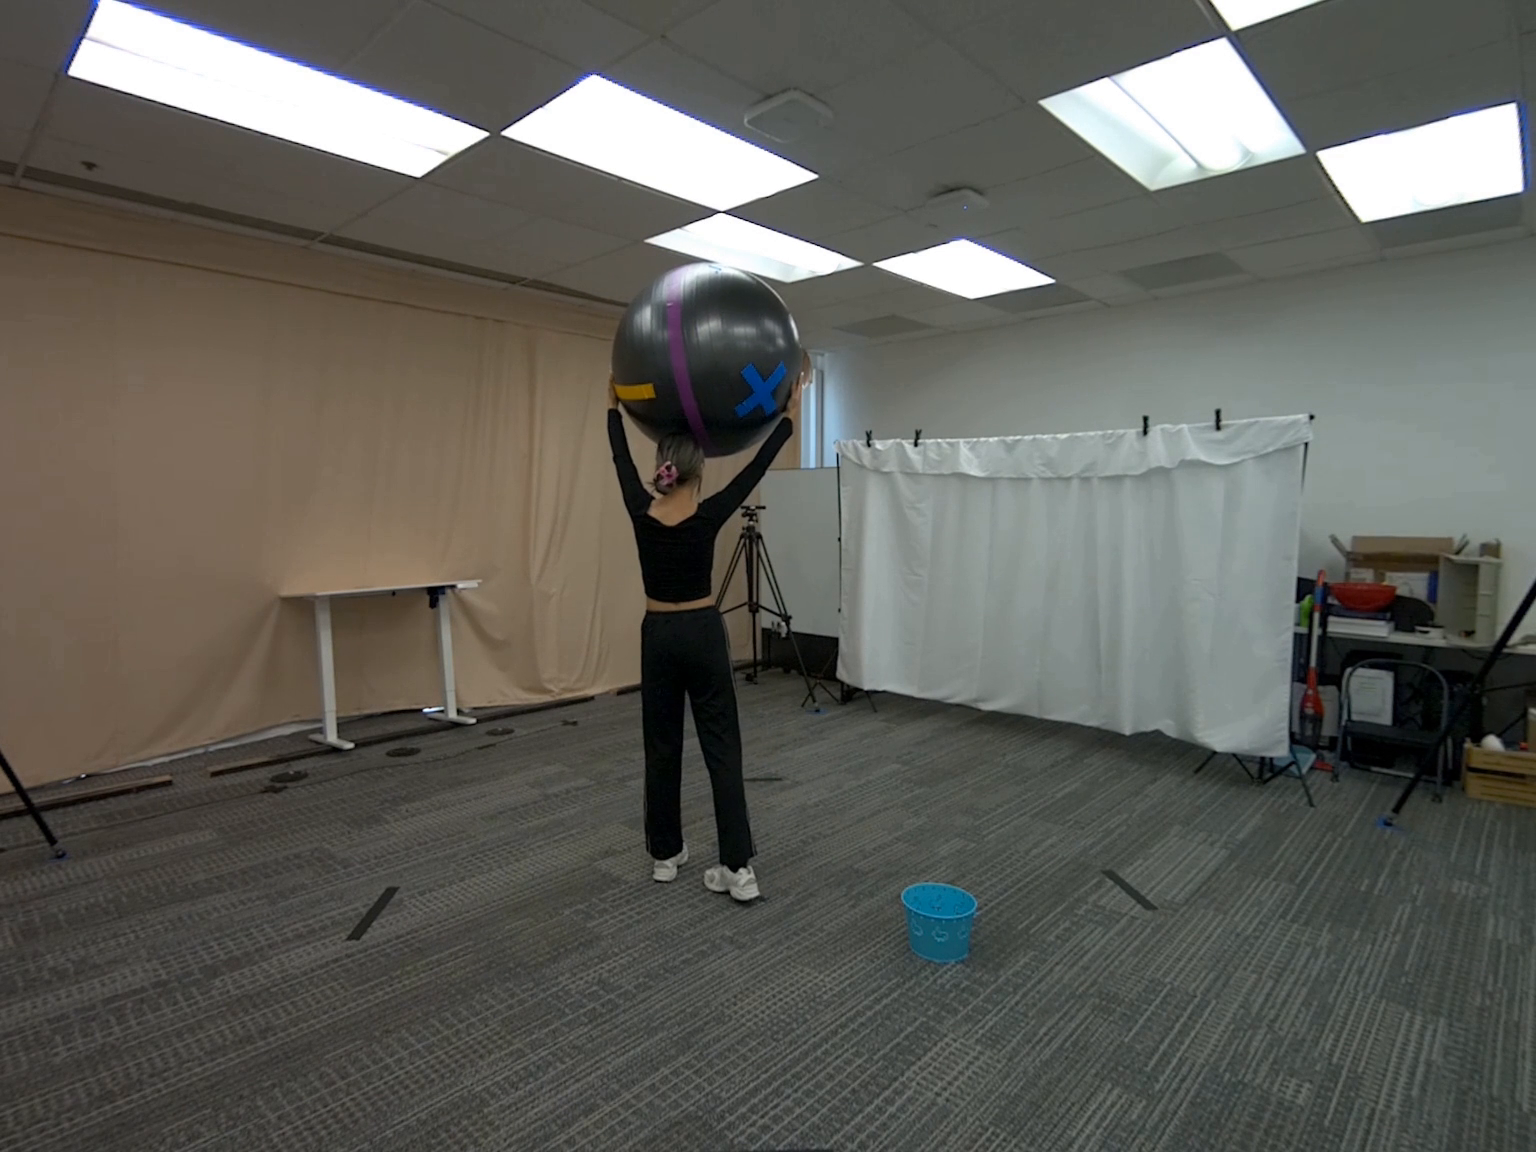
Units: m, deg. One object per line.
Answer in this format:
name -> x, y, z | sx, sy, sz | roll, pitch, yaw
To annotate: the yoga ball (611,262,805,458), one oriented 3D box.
yoga ball -> -0.241, -0.842, 3.355 | 0.757, 0.756, 0.760 | 0, 4, -2
